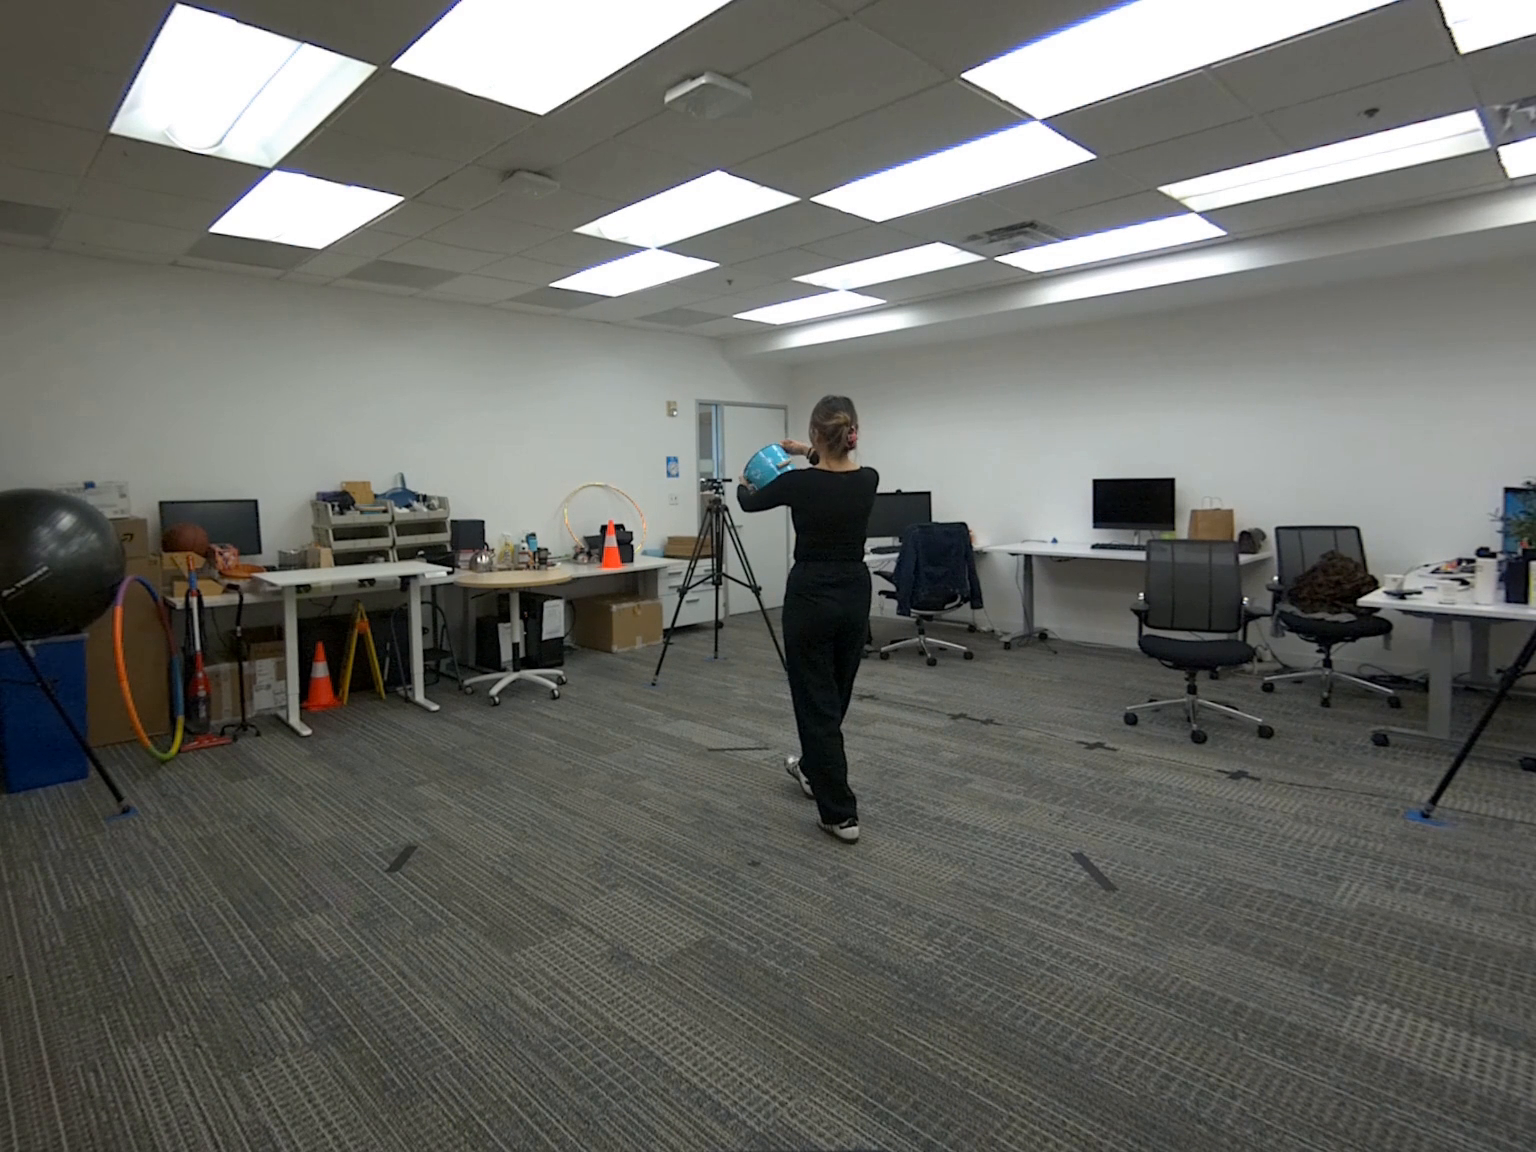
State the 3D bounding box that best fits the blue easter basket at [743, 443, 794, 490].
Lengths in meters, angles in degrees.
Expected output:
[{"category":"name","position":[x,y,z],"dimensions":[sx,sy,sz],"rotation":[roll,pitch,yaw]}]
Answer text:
[{"category":"blue easter basket","position":[0.022,-0.457,3.791],"dimensions":[0.237,0.242,0.161],"rotation":[-6,48,-45]}]
